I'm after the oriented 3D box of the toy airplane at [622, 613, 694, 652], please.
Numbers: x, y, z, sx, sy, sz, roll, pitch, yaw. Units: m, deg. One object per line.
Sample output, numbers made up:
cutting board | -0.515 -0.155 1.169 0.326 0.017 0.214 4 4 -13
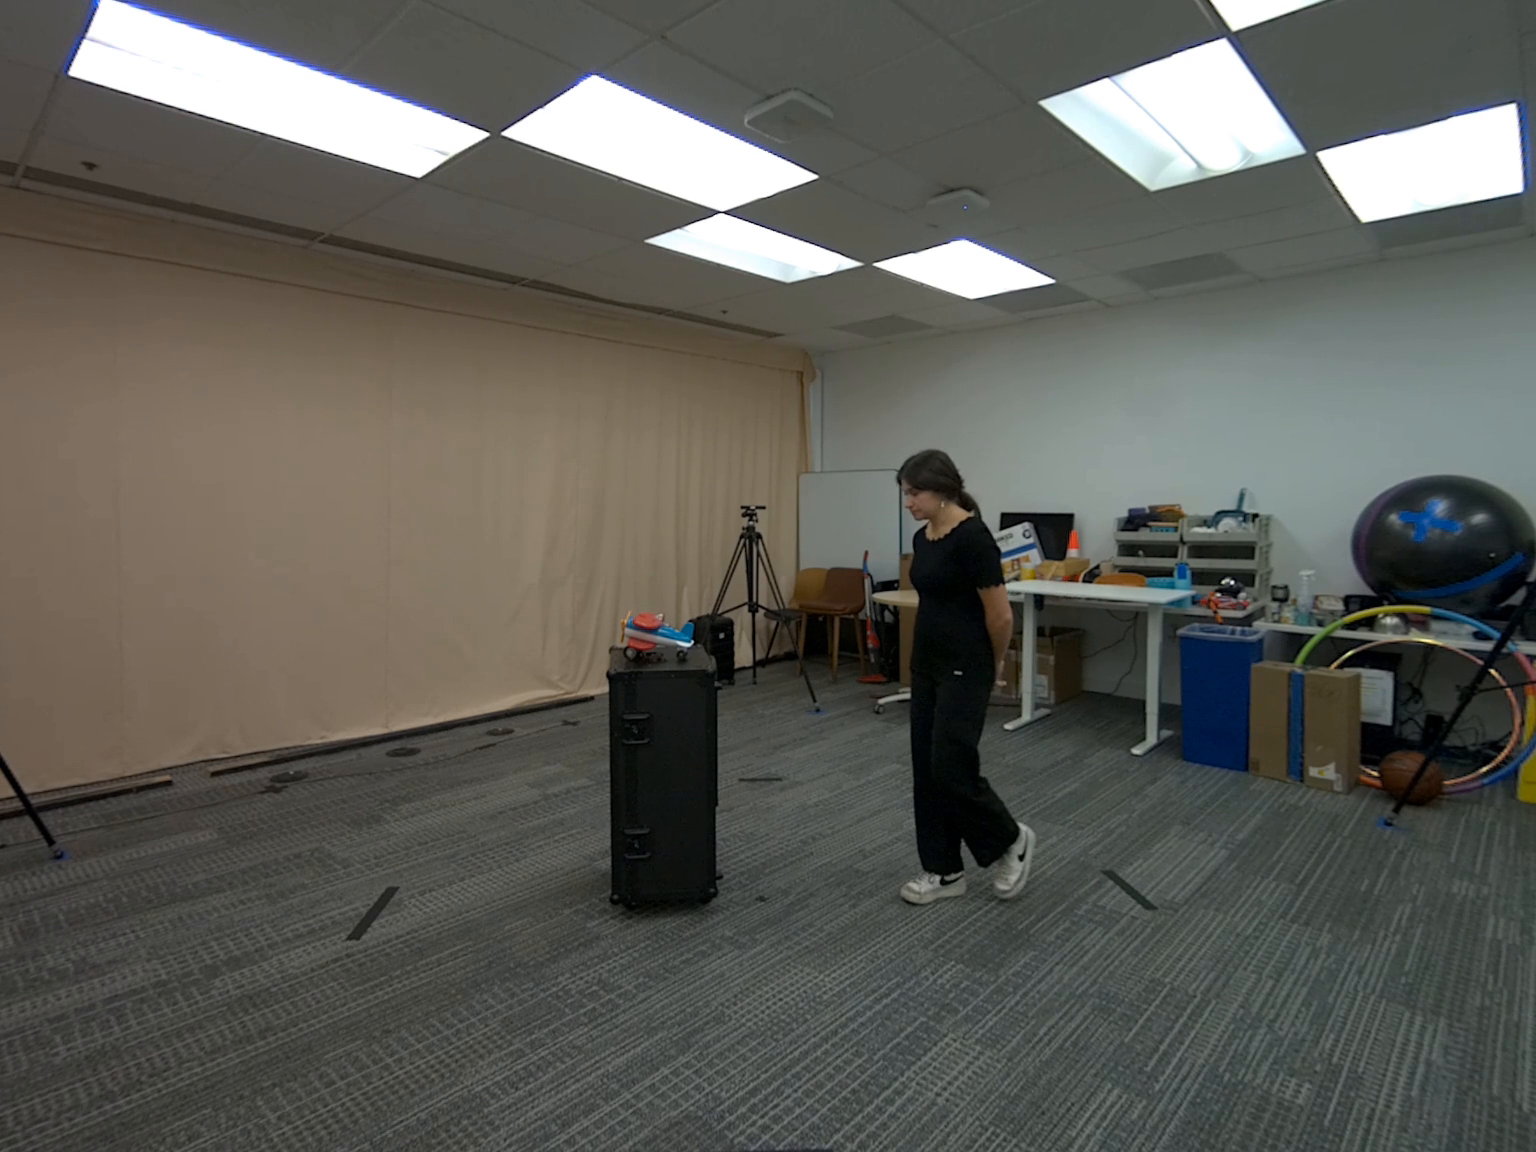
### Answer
toy airplane | -0.394 0.216 3.028 0.253 0.156 0.258 -4 7 -24
